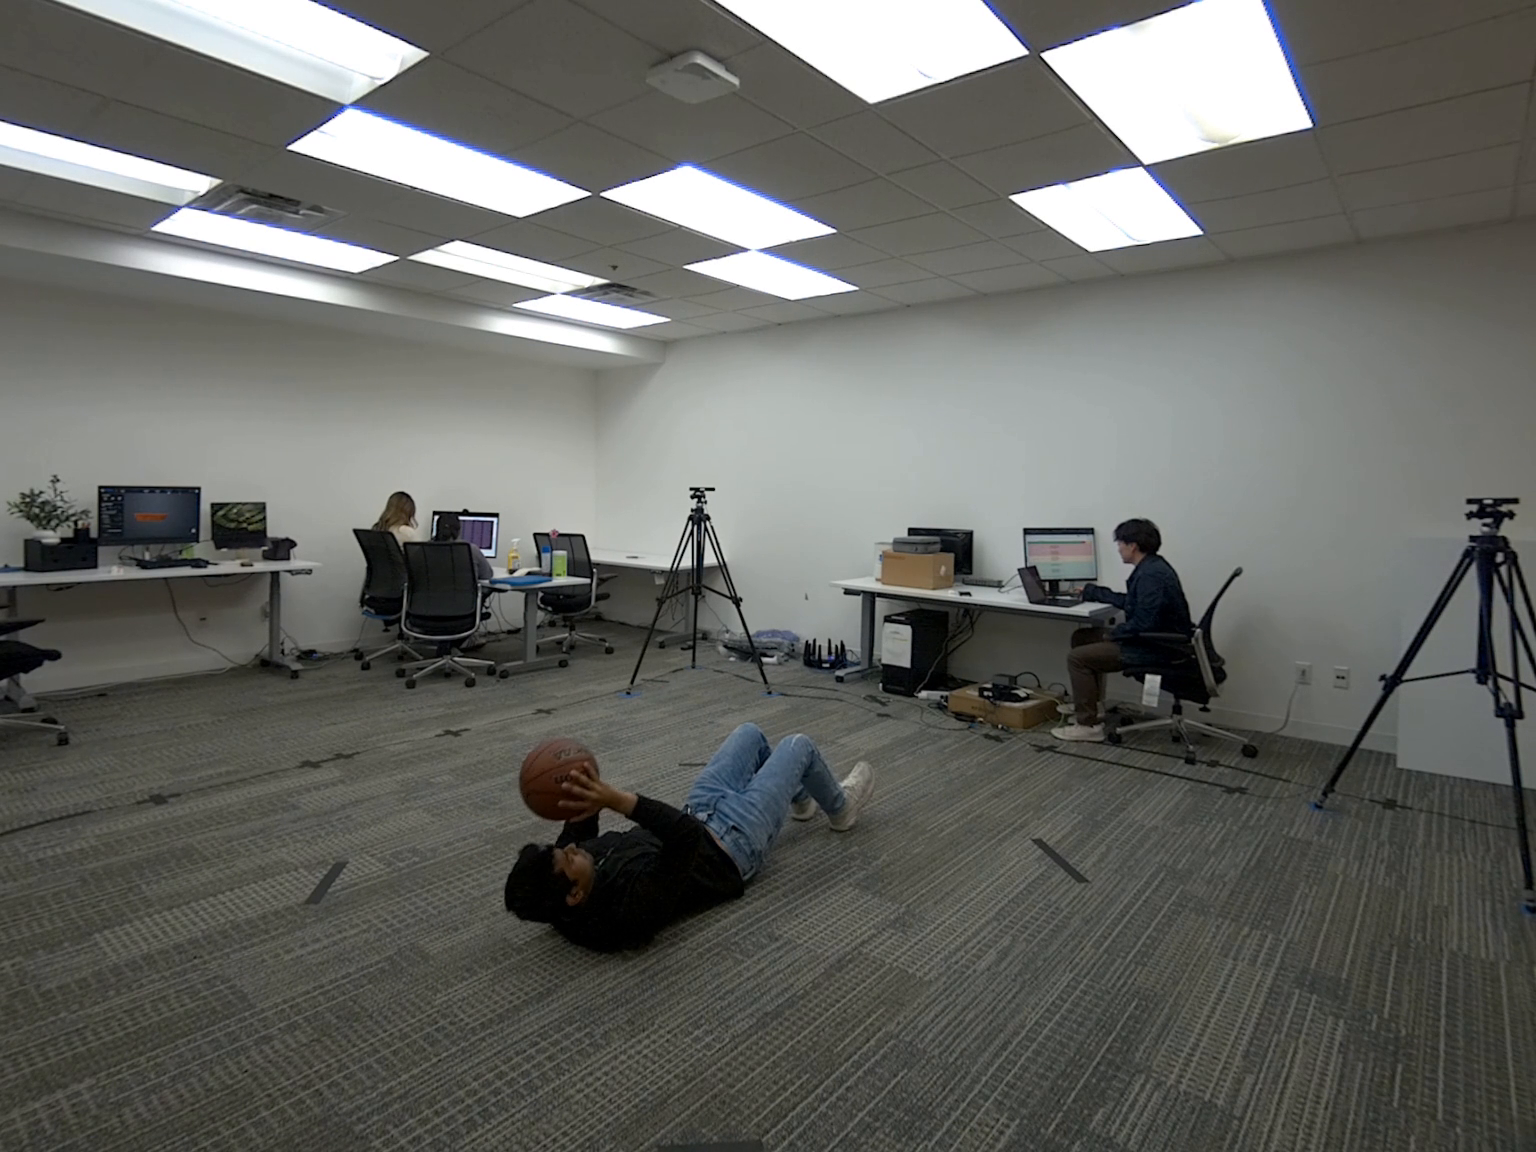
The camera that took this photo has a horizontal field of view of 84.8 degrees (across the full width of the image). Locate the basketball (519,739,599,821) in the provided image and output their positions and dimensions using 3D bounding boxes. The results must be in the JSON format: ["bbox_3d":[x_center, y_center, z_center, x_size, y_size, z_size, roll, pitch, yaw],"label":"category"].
[{"bbox_3d":[-0.625,0.614,2.551,0.235,0.235,0.237,1,4,-2],"label":"basketball"}]
